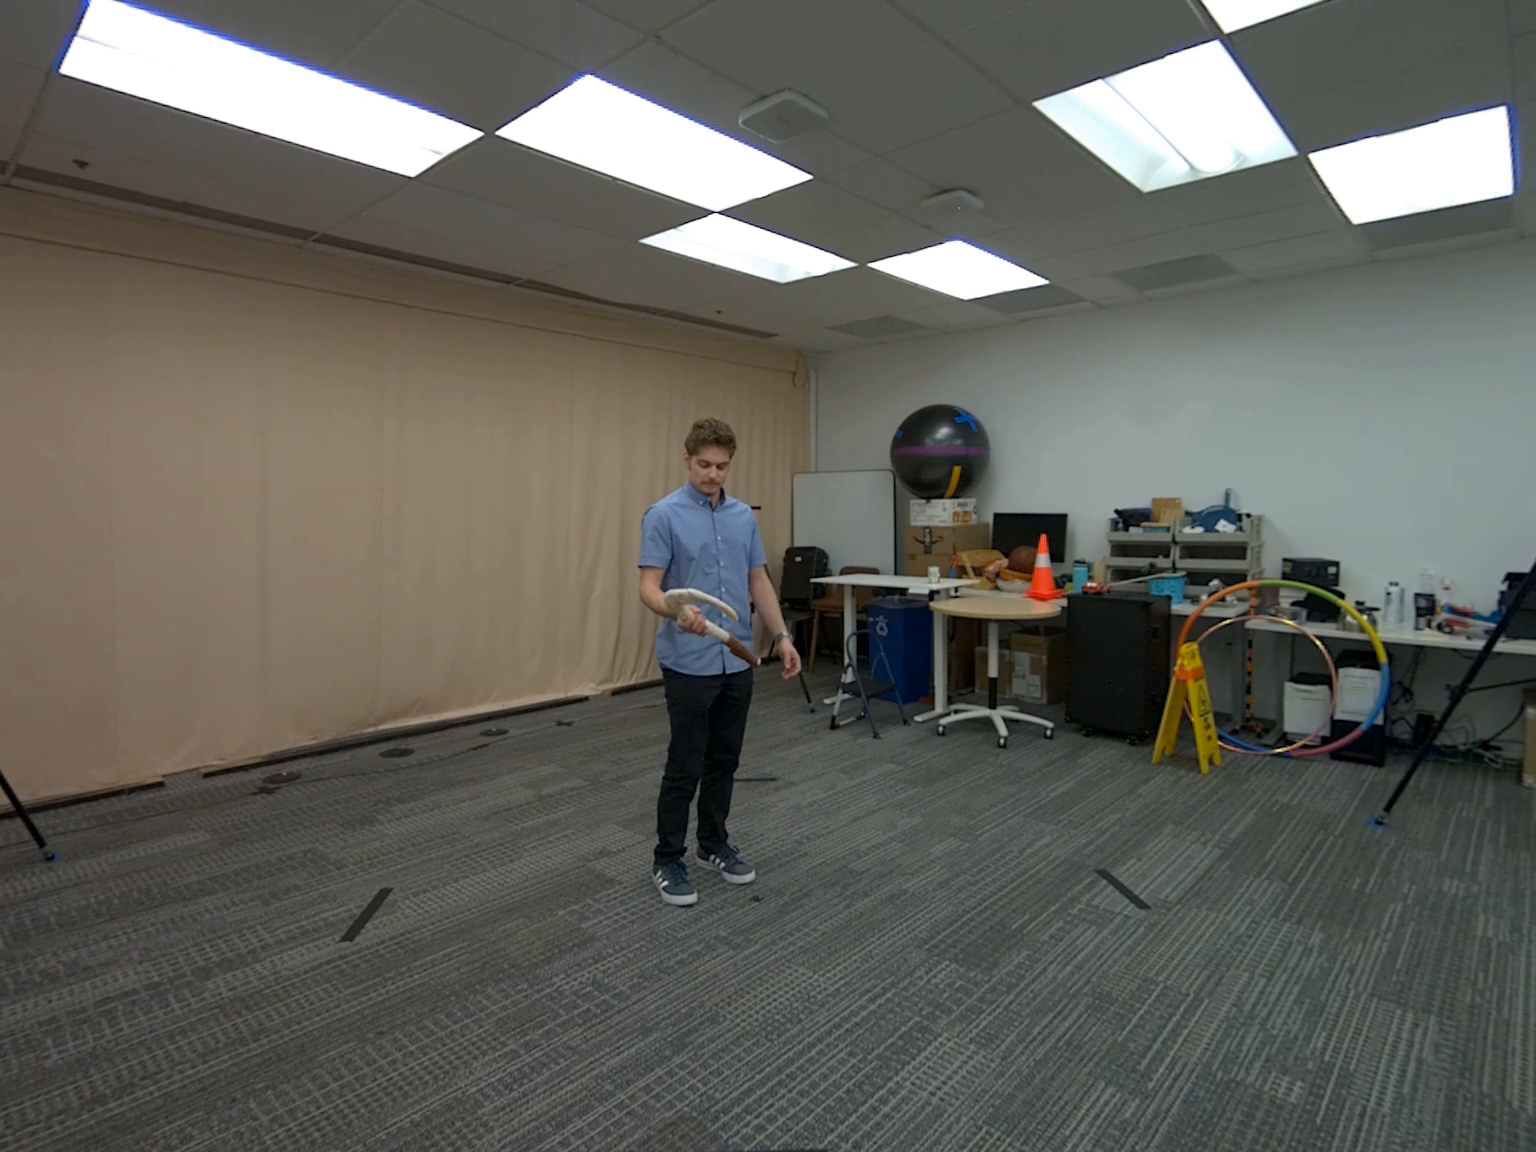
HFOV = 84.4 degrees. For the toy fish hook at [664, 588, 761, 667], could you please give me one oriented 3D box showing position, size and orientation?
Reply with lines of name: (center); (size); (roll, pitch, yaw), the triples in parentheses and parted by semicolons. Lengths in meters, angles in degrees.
toy fish hook: (-0.139, 0.195, 2.697); (0.232, 0.048, 0.489); (2, -30, 40)
